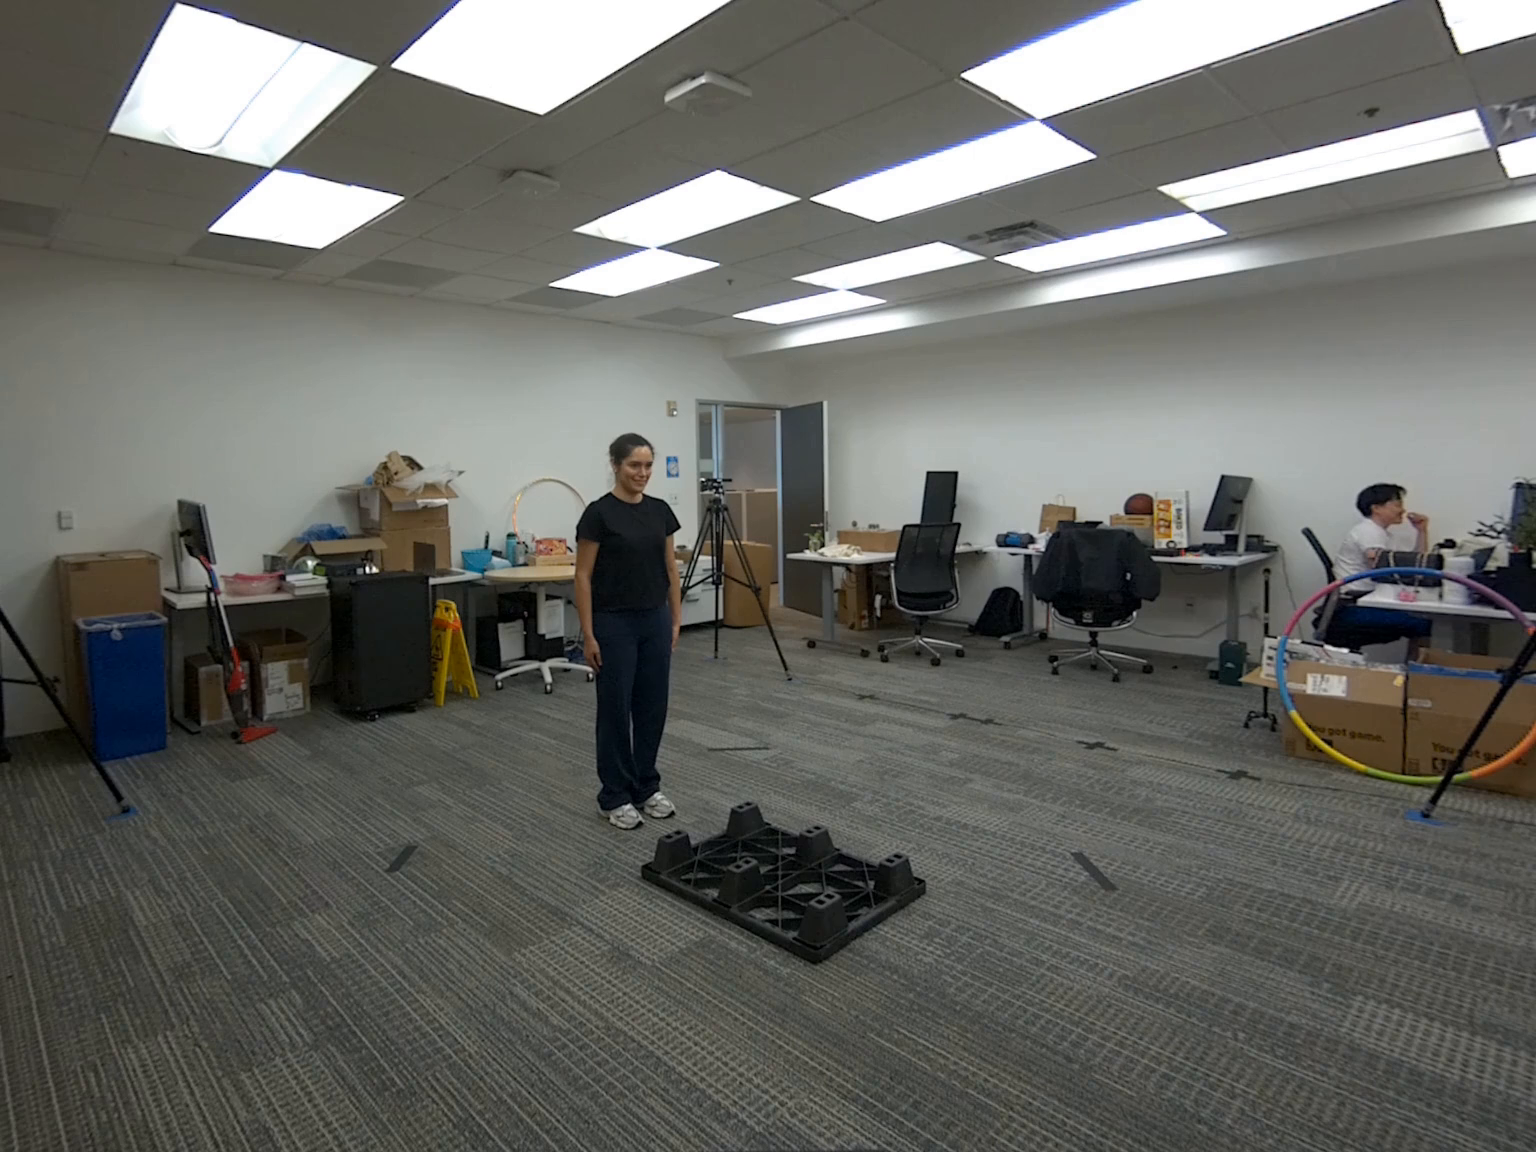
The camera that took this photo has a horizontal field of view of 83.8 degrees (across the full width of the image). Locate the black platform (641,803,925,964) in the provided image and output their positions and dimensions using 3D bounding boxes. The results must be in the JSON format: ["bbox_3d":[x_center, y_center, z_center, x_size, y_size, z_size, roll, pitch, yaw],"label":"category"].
[{"bbox_3d":[0.046,0.995,2.949,0.831,0.142,0.589,5,9,43],"label":"black platform"}]
